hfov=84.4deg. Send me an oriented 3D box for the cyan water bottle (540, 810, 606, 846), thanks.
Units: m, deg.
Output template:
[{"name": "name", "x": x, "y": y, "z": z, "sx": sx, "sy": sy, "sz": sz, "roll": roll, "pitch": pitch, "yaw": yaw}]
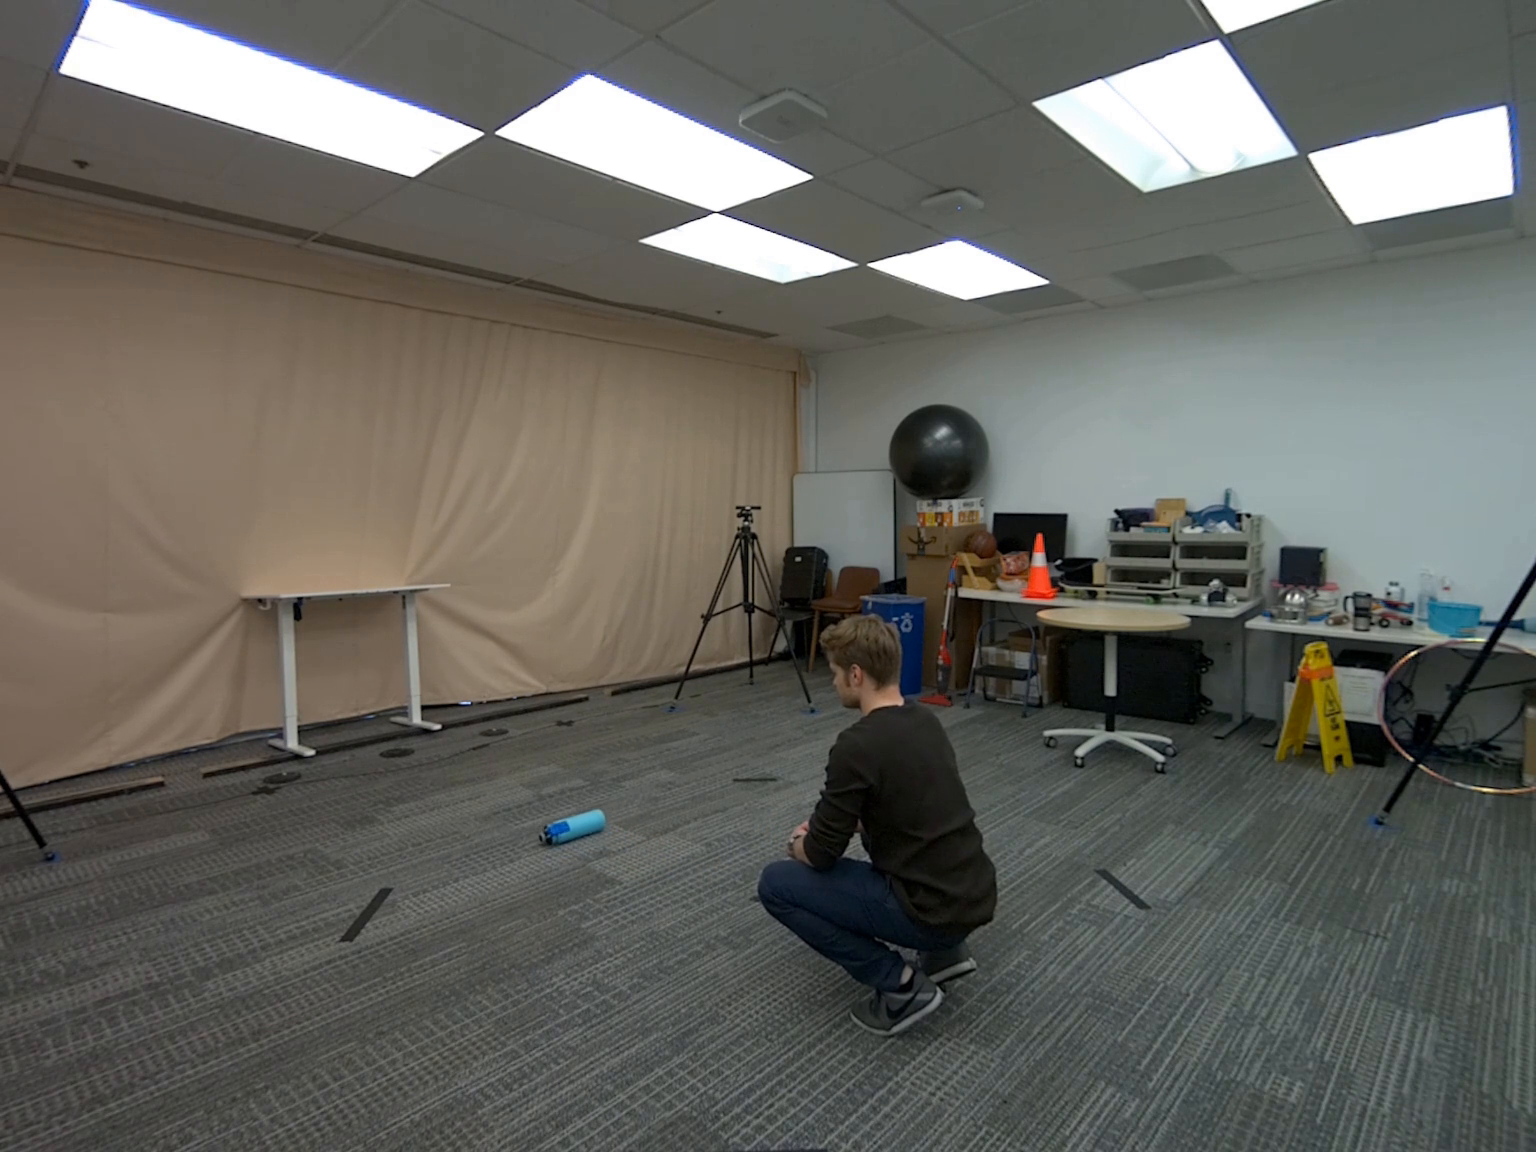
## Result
[{"name": "cyan water bottle", "x": -0.824, "y": 1.057, "z": 3.554, "sx": 0.275, "sy": 0.092, "sz": 0.095, "roll": -4, "pitch": 6, "yaw": -42}]
